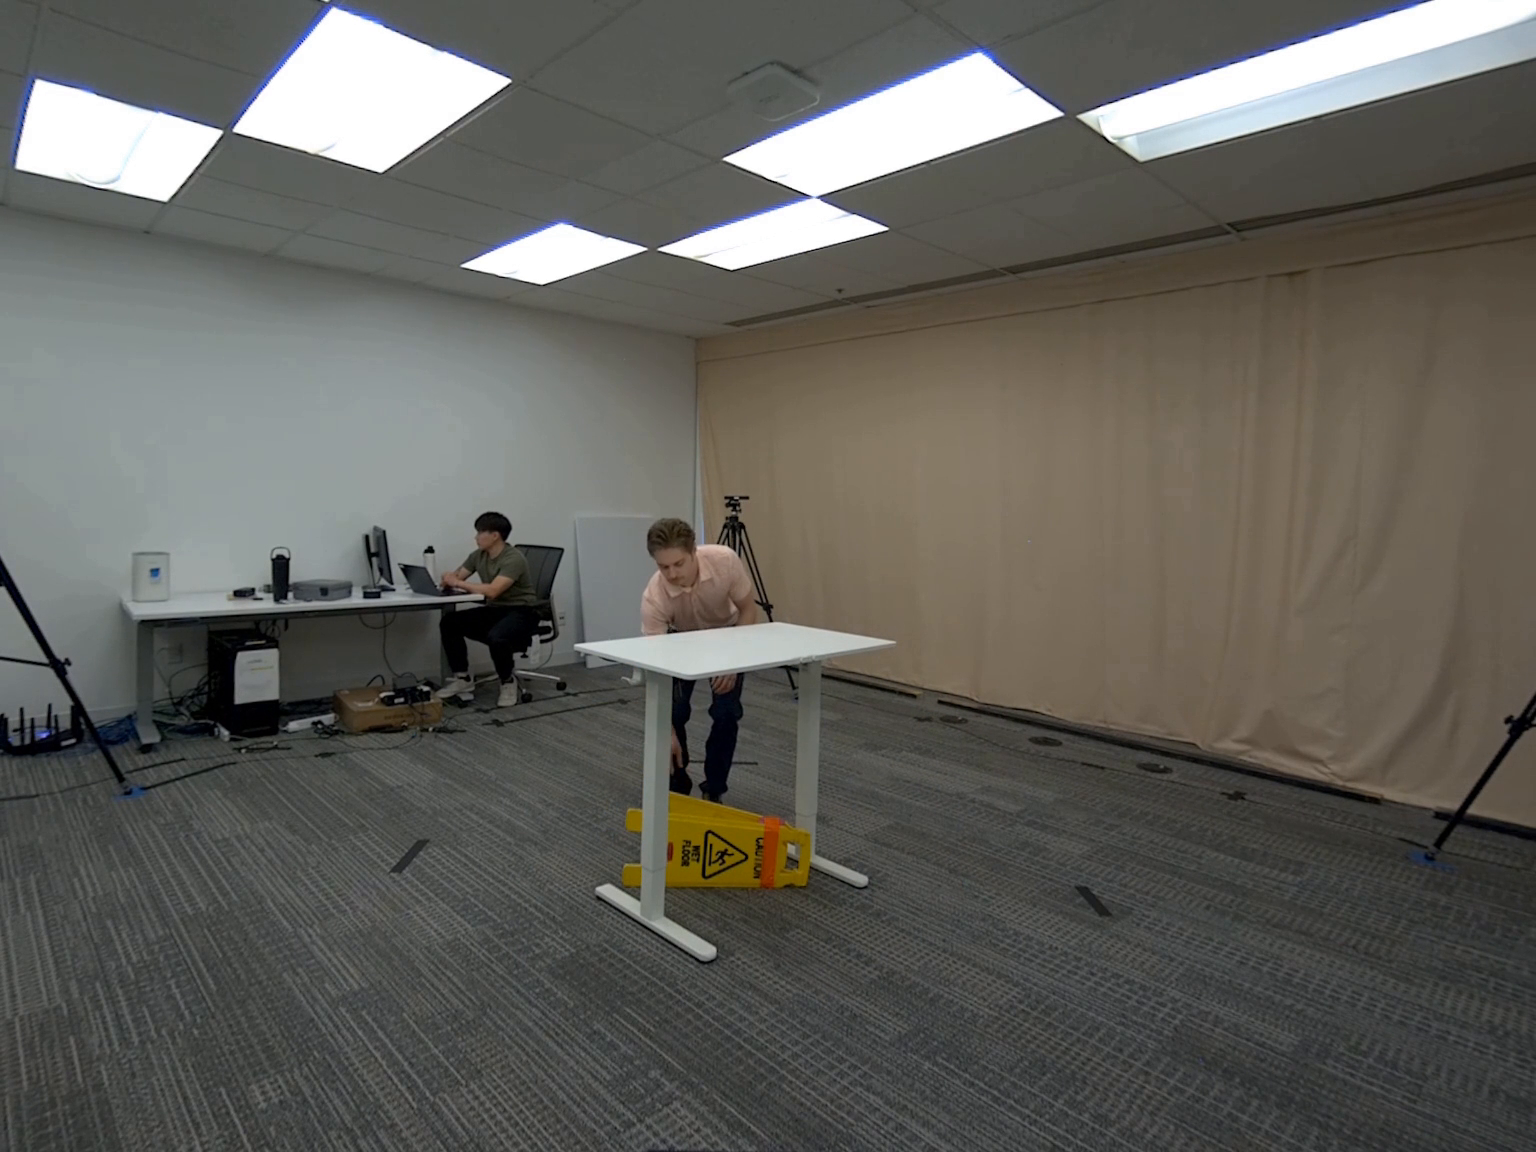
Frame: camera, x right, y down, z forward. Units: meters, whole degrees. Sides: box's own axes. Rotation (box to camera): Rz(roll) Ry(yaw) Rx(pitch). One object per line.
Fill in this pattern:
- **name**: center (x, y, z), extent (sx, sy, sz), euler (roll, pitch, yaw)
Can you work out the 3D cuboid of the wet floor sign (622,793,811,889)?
- **wet floor sign**: center (-0.177, 0.979, 3.061), extent (0.651, 0.281, 0.288), euler (6, 5, 9)
